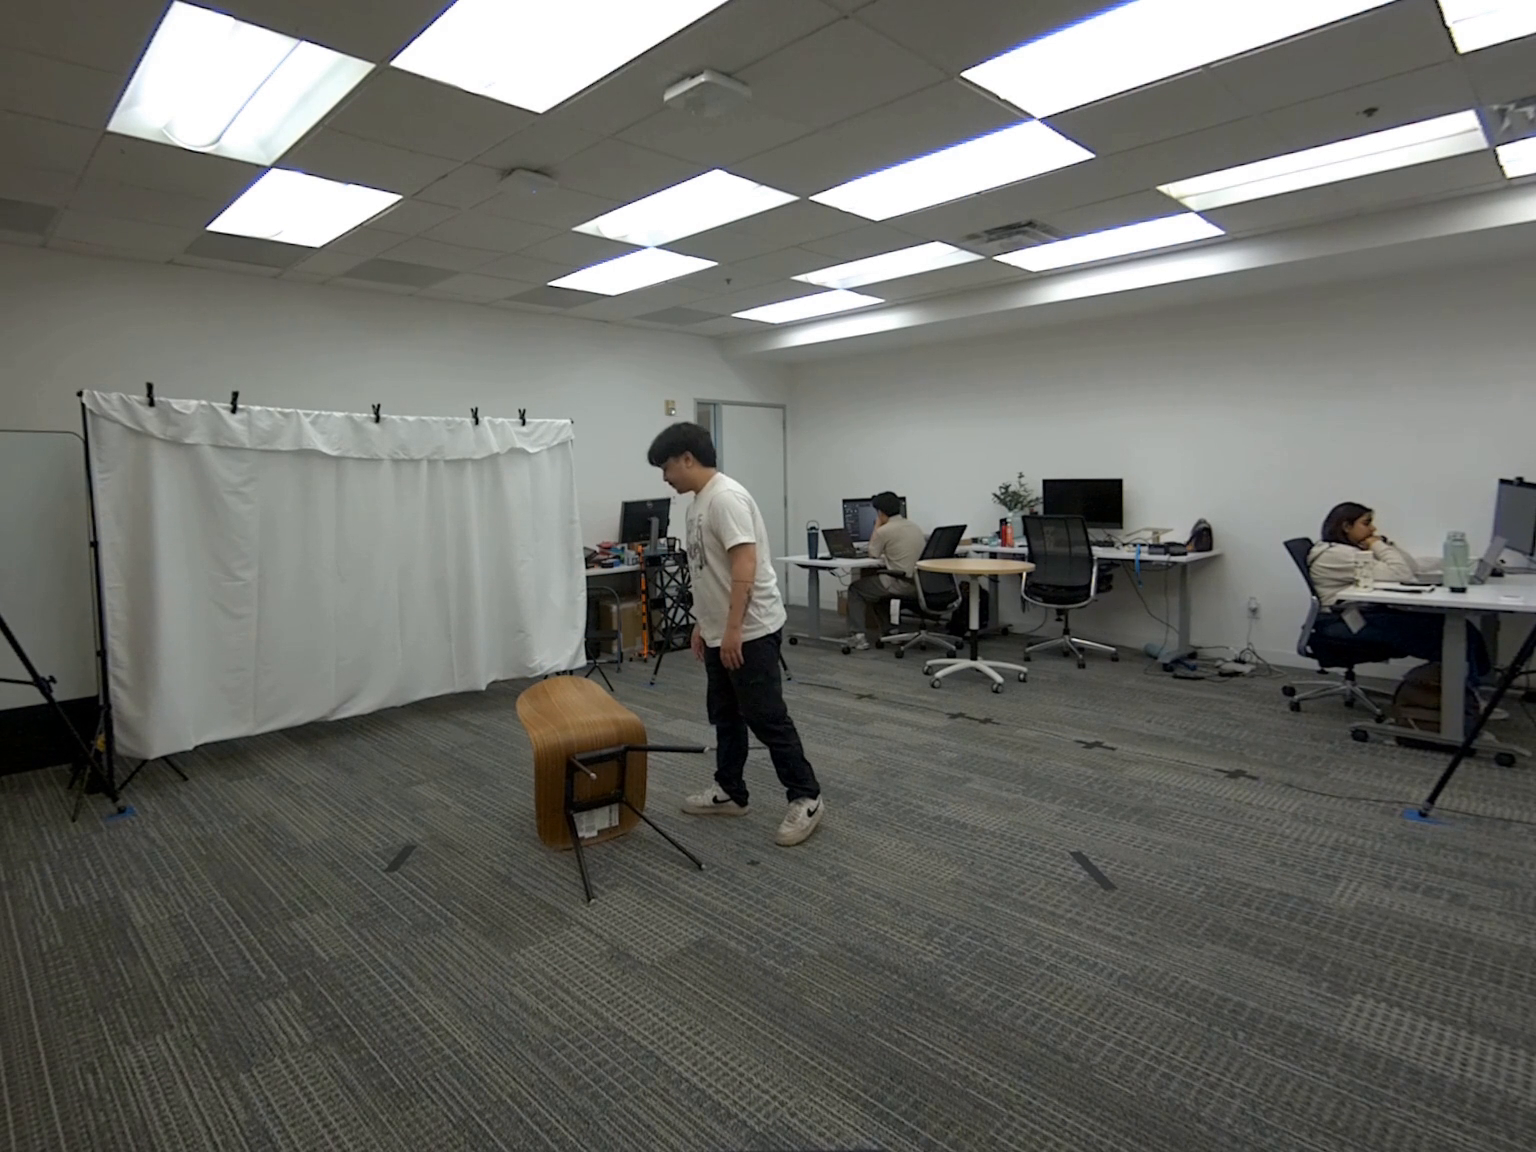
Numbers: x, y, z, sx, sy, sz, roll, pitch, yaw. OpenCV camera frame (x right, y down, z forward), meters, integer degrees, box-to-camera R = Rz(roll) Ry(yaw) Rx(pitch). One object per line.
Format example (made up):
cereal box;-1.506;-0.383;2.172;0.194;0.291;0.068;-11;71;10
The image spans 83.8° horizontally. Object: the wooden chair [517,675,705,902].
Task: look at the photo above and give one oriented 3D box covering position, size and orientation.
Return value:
wooden chair;-0.647;0.782;3.257;0.466;0.518;0.909;-5;16;-35
